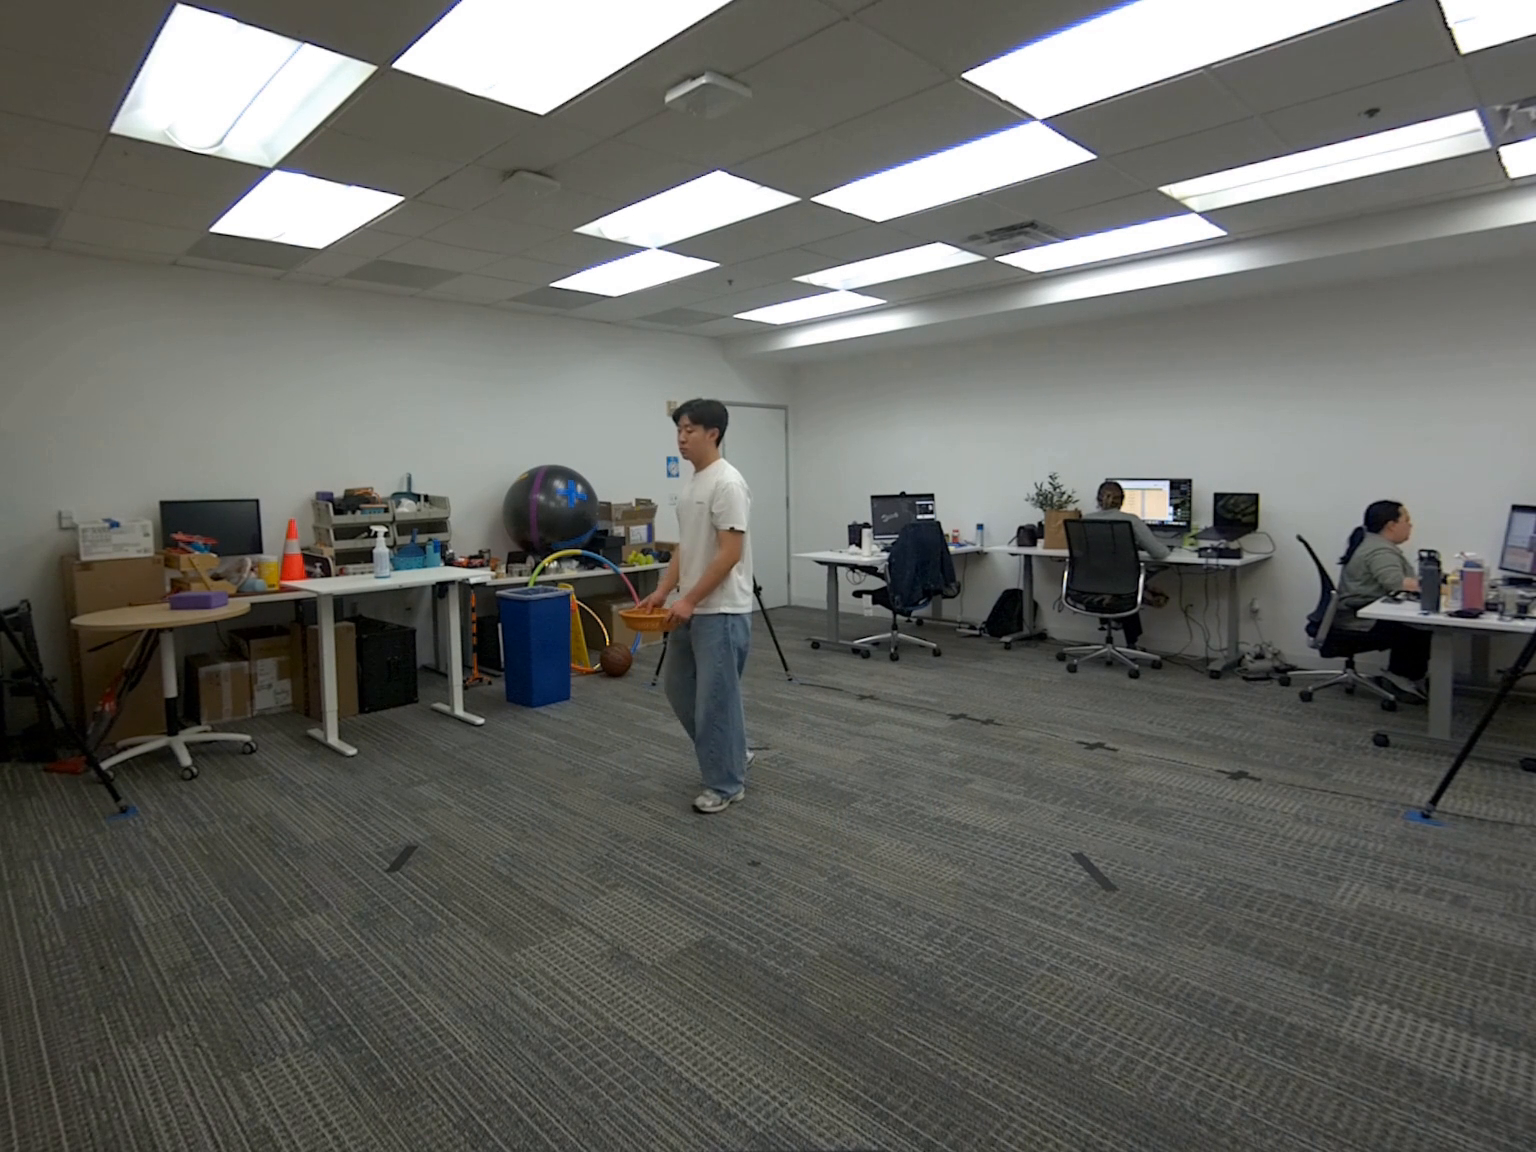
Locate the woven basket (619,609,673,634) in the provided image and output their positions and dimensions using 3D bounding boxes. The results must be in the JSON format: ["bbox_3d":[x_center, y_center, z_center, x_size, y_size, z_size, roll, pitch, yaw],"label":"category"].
[{"bbox_3d":[-0.490,0.186,3.618,0.247,0.073,0.359,-3,4,-27],"label":"woven basket"}]
